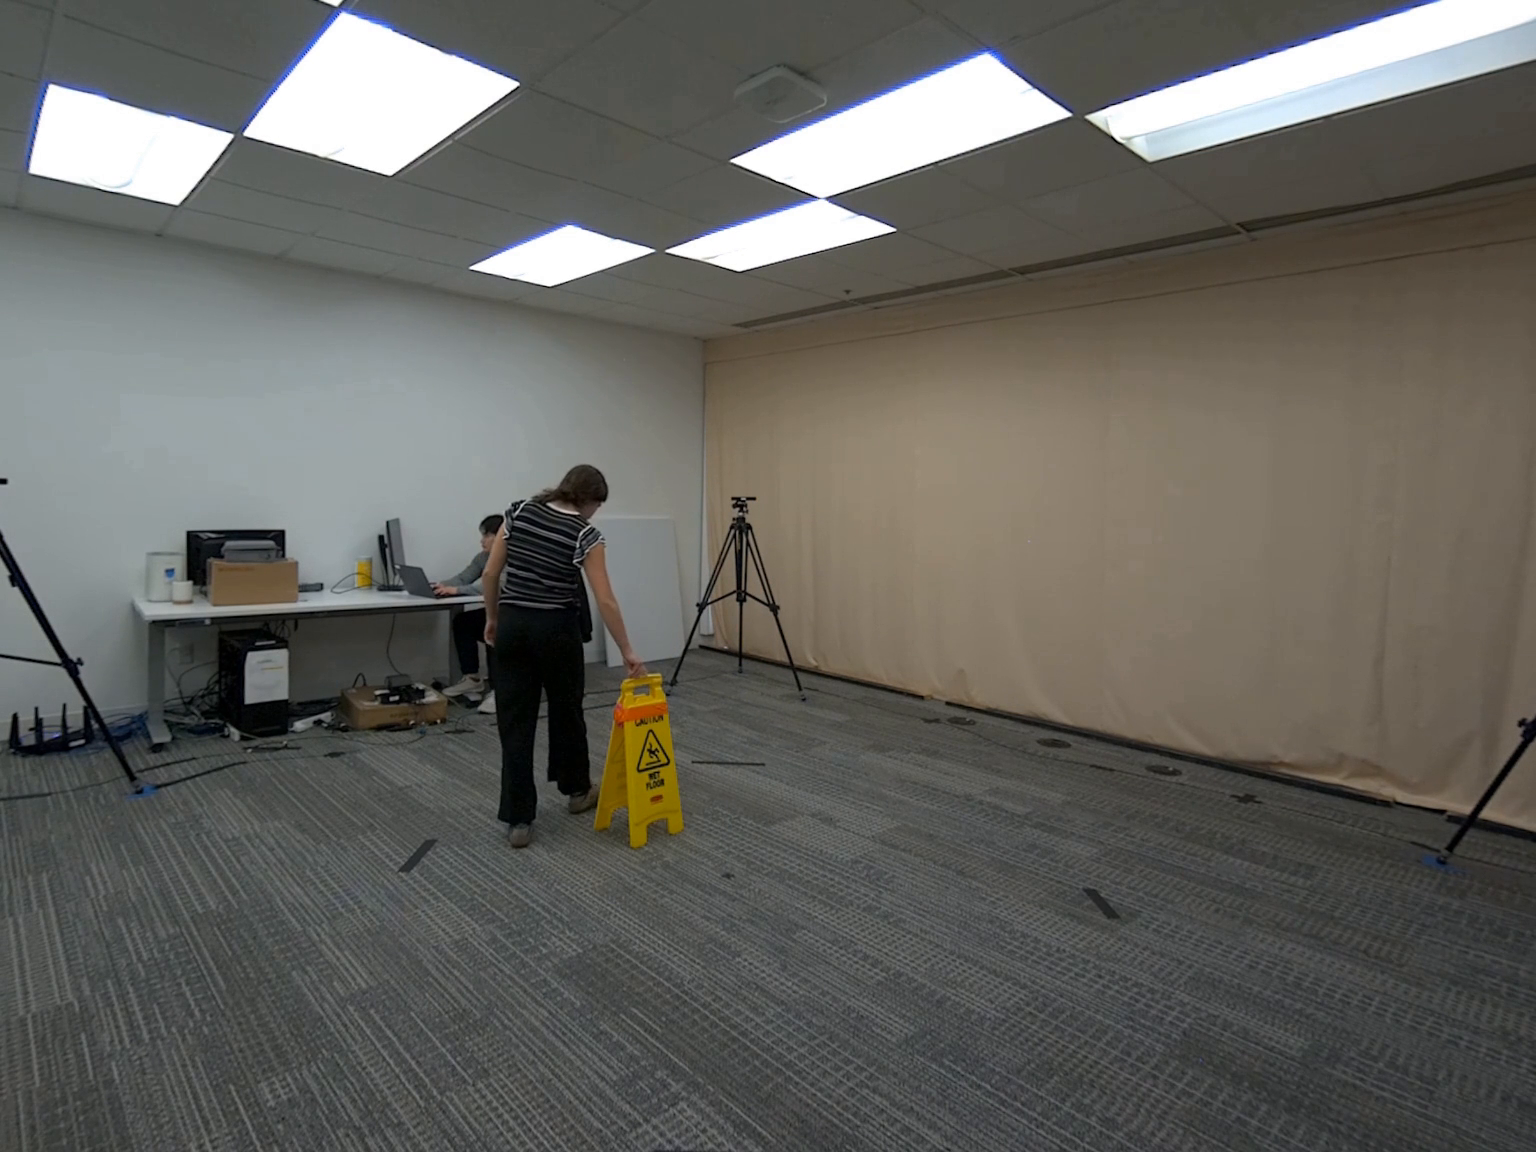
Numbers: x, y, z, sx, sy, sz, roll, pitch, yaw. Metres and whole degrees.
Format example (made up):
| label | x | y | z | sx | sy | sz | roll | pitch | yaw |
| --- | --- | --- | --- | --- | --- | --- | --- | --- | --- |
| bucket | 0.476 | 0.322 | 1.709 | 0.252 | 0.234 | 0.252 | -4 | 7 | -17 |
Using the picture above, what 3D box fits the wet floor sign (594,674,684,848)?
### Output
| label | x | y | z | sx | sy | sz | roll | pitch | yaw |
| --- | --- | --- | --- | --- | --- | --- | --- | --- | --- |
| wet floor sign | -0.543 | 0.738 | 3.499 | 0.297 | 0.645 | 0.275 | 3 | 3 | 42 |
